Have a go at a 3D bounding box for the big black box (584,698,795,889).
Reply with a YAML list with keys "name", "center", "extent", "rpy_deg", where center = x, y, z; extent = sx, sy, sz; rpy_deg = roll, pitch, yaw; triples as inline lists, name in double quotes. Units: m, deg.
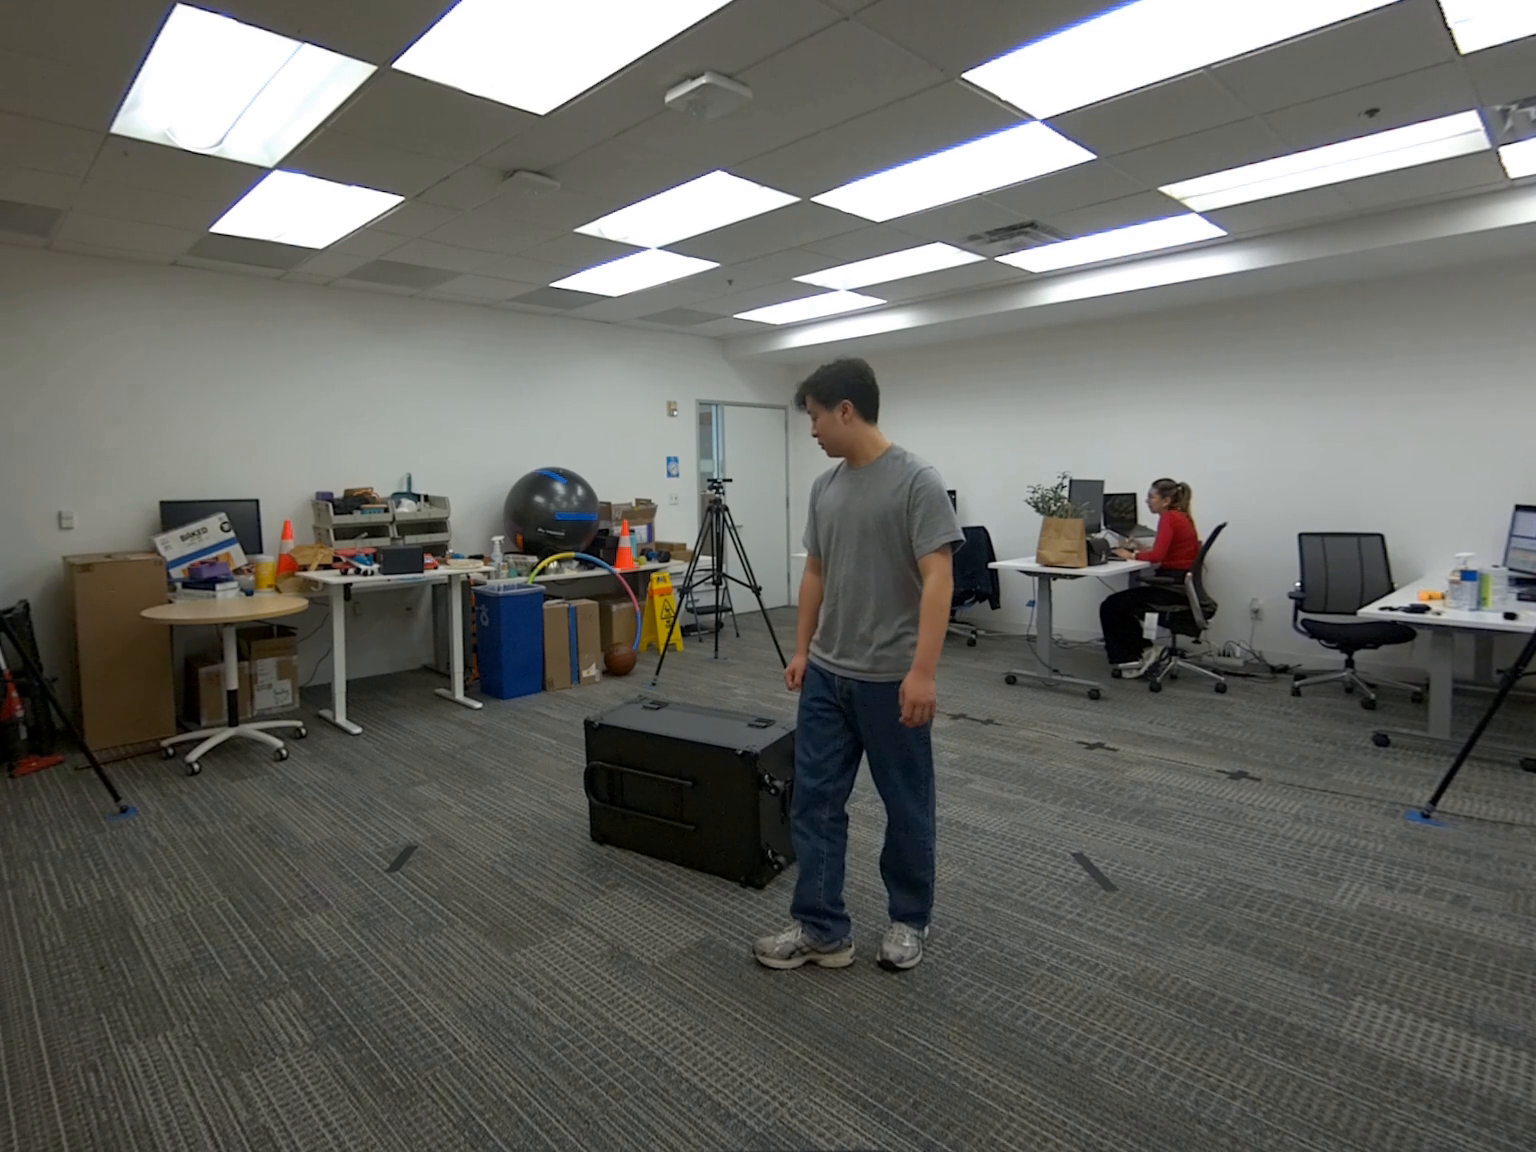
- name: "big black box"
  center: [-0.255, 0.778, 3.209]
  extent: [0.885, 0.518, 0.388]
  rpy_deg: [2, 8, 32]
